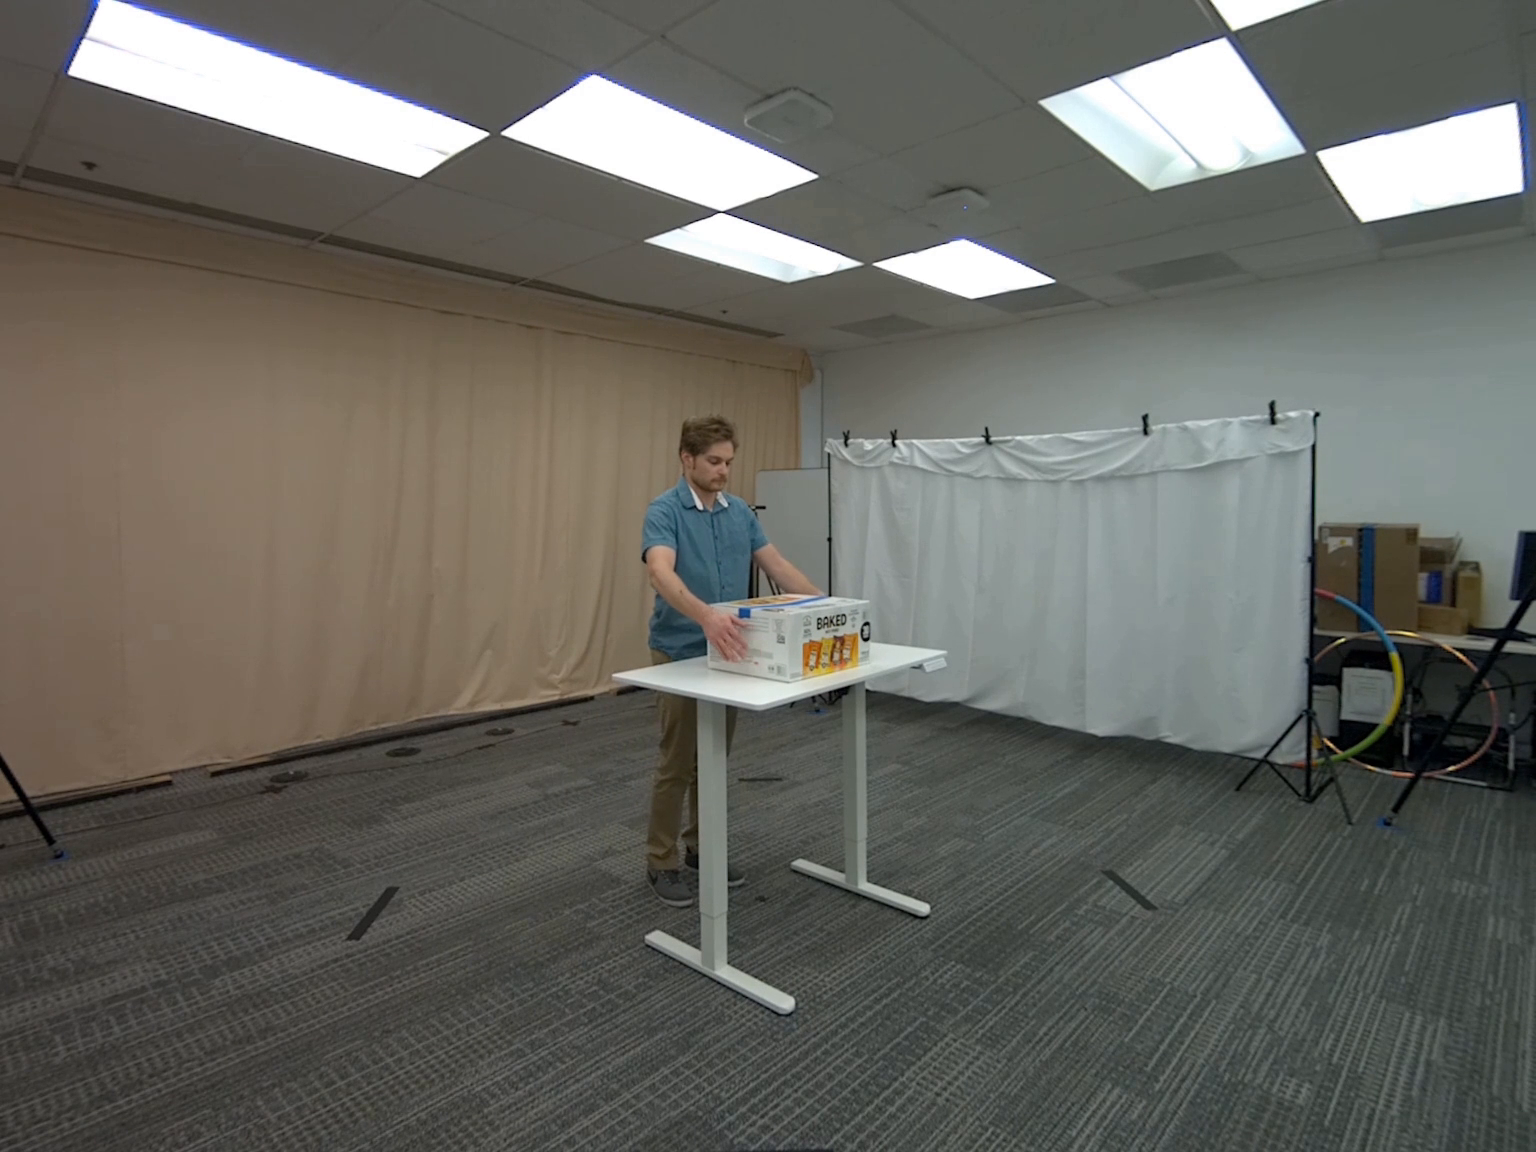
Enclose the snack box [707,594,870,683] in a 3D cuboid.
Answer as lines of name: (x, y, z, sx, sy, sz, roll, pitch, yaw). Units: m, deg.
snack box: (0.073, 0.186, 2.665, 0.351, 0.205, 0.393, 2, 5, 43)
